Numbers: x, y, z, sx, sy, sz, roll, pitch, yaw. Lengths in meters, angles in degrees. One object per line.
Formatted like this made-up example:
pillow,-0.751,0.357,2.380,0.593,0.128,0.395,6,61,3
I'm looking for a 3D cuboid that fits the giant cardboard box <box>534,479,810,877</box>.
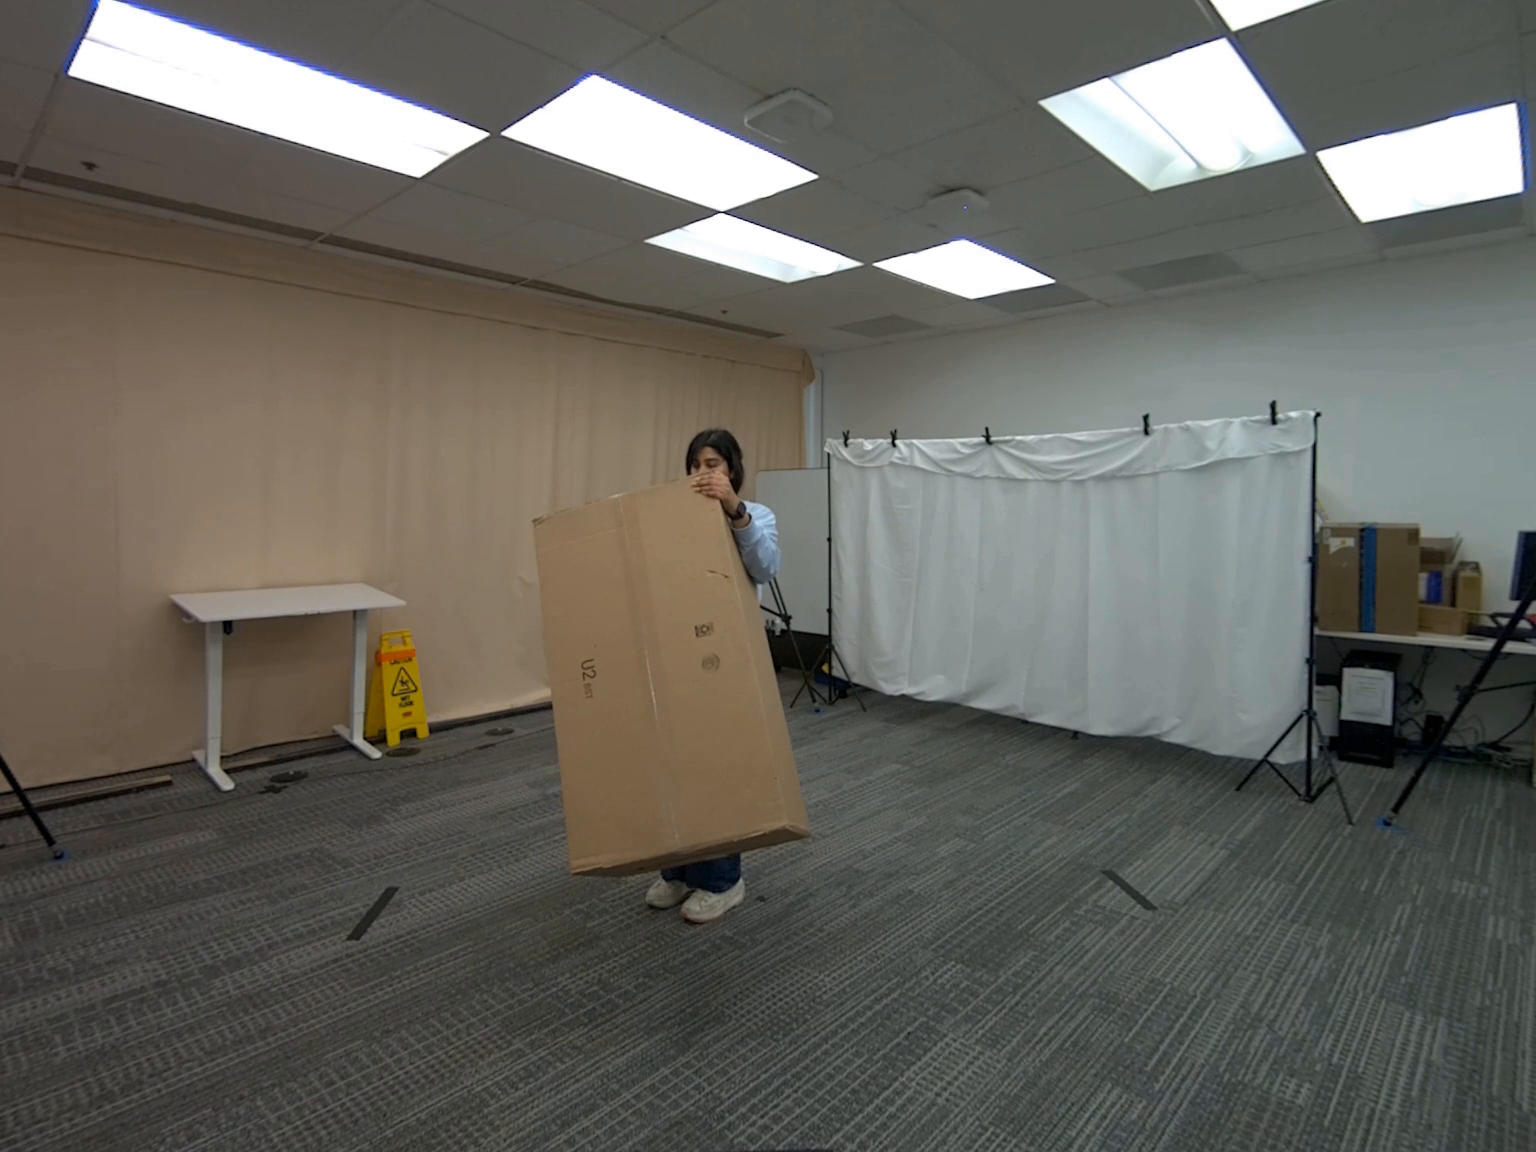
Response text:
giant cardboard box,-0.288,0.294,2.475,0.588,1.046,0.435,-16,-24,7
